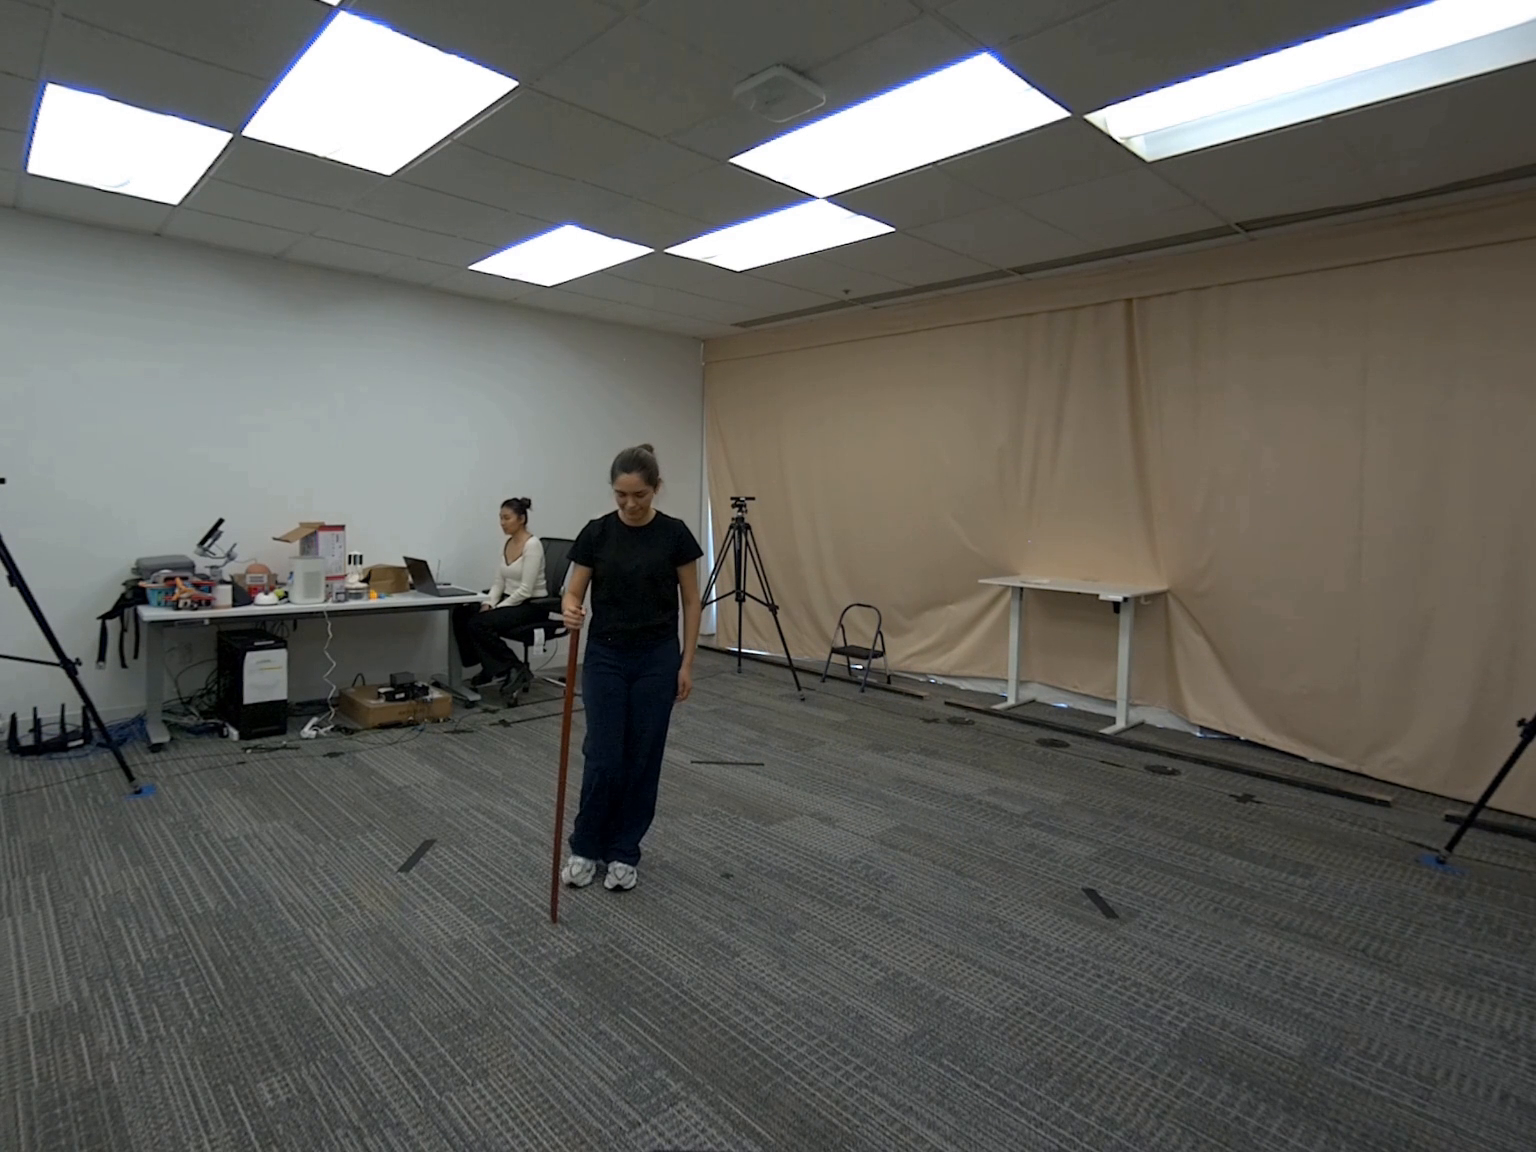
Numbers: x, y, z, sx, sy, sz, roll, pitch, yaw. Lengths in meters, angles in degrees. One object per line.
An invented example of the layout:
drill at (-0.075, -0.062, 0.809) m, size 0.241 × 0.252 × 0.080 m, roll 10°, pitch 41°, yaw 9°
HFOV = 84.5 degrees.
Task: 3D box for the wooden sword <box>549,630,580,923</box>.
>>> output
wooden sword at (-0.663, 0.629, 2.723) m, size 0.050 × 1.024 × 0.025 m, roll 5°, pitch 0°, yaw -41°
